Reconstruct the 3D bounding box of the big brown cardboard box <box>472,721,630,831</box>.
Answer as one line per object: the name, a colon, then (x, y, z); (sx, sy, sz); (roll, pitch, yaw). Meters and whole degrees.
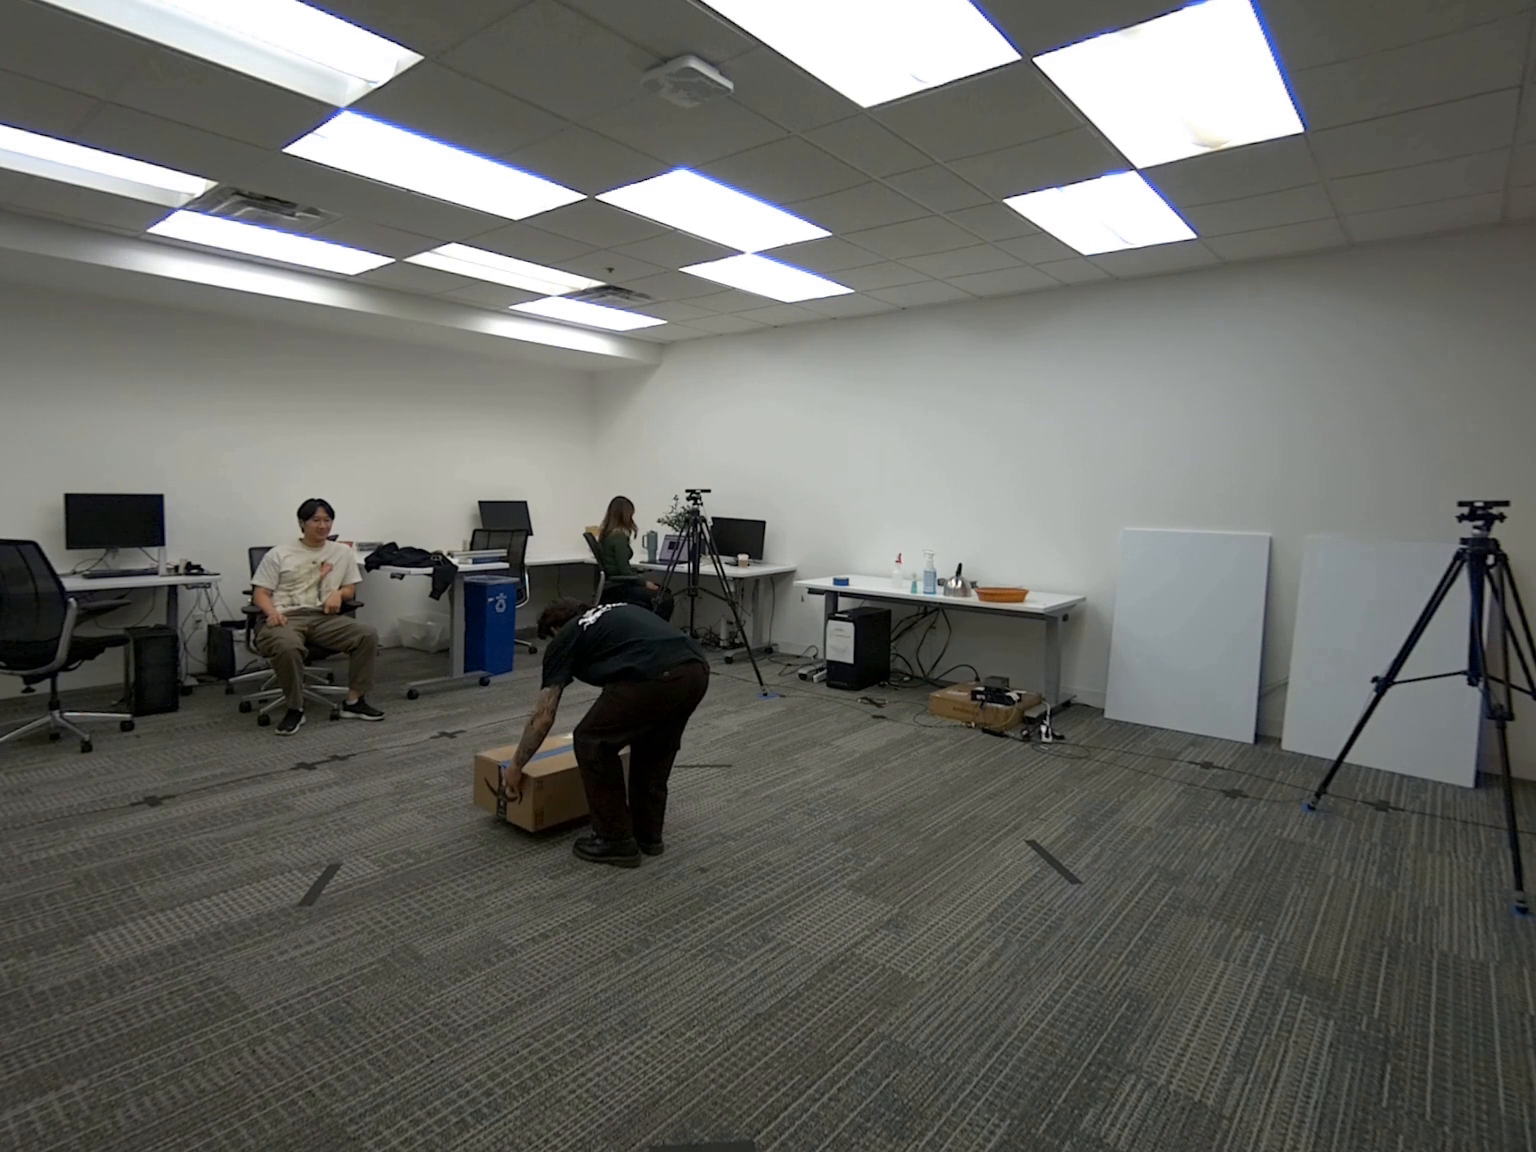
big brown cardboard box: (-0.893, 0.831, 3.604); (0.432, 0.232, 0.571); (5, 6, 39)
